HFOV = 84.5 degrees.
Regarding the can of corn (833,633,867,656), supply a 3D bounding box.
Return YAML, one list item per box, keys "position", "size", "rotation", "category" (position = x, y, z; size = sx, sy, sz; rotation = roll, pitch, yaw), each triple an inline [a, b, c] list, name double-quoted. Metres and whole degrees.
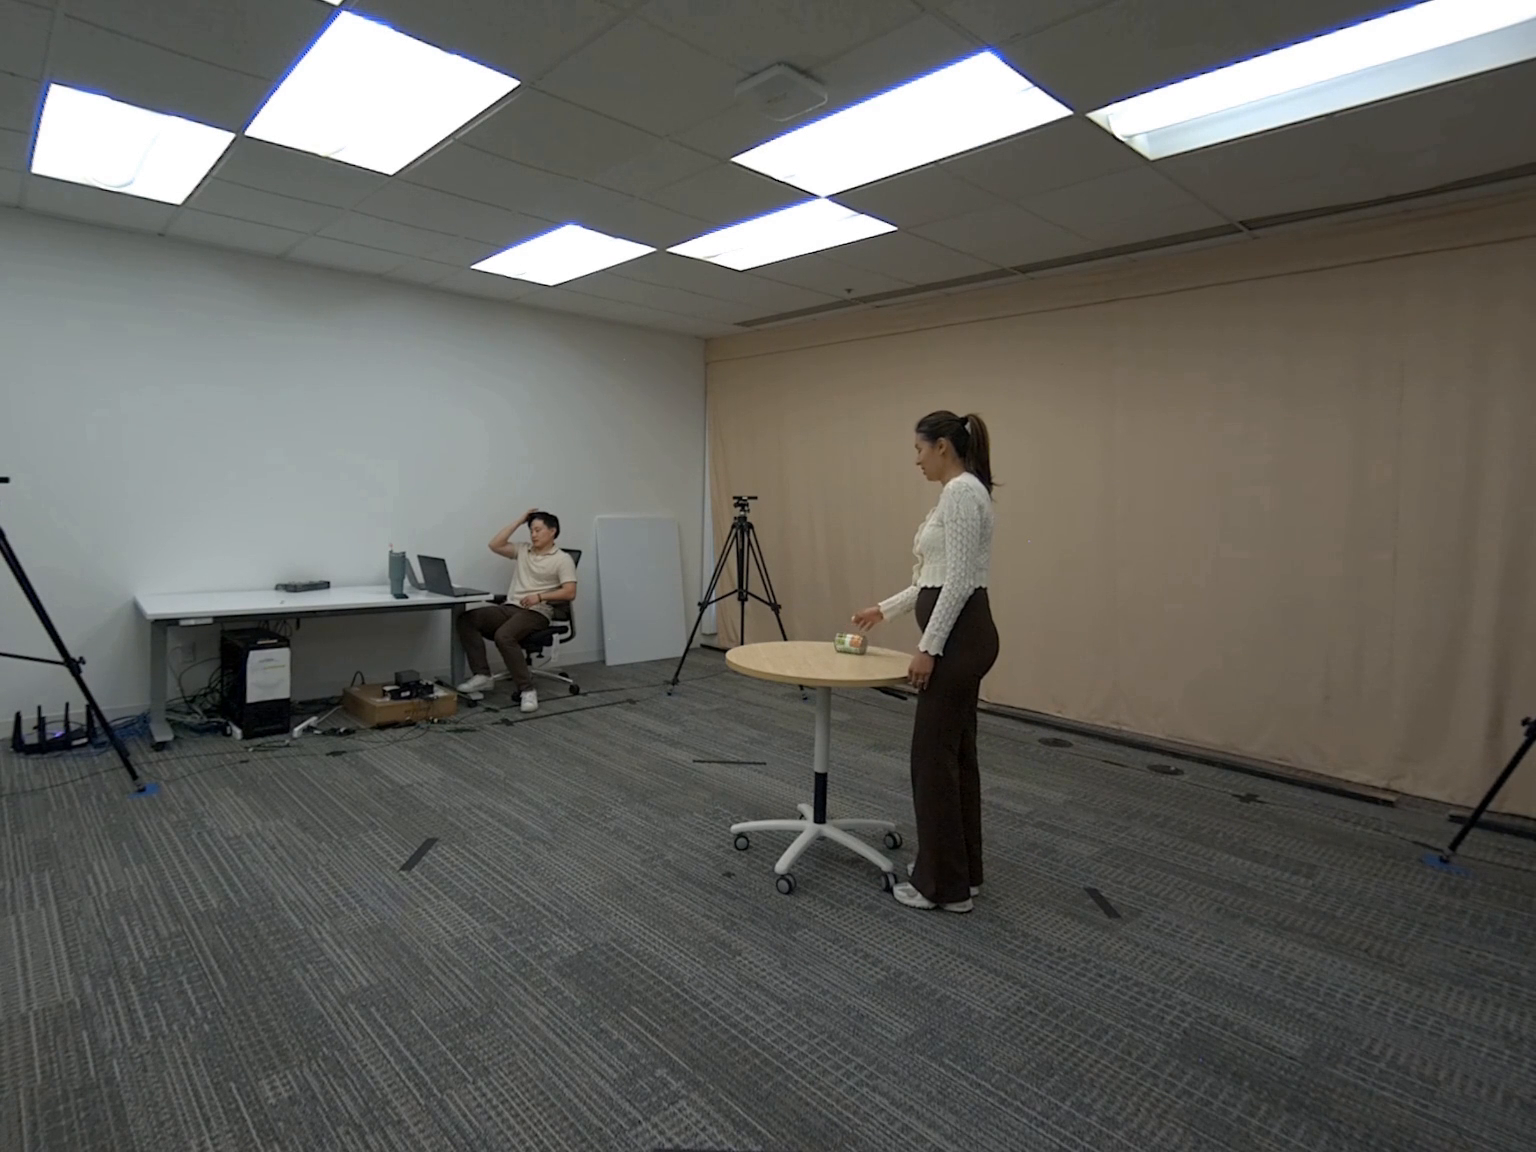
- position: [0.324, 0.271, 3.378]
  size: [0.113, 0.074, 0.073]
  rotation: [4, 5, 21]
  category: "can of corn"
